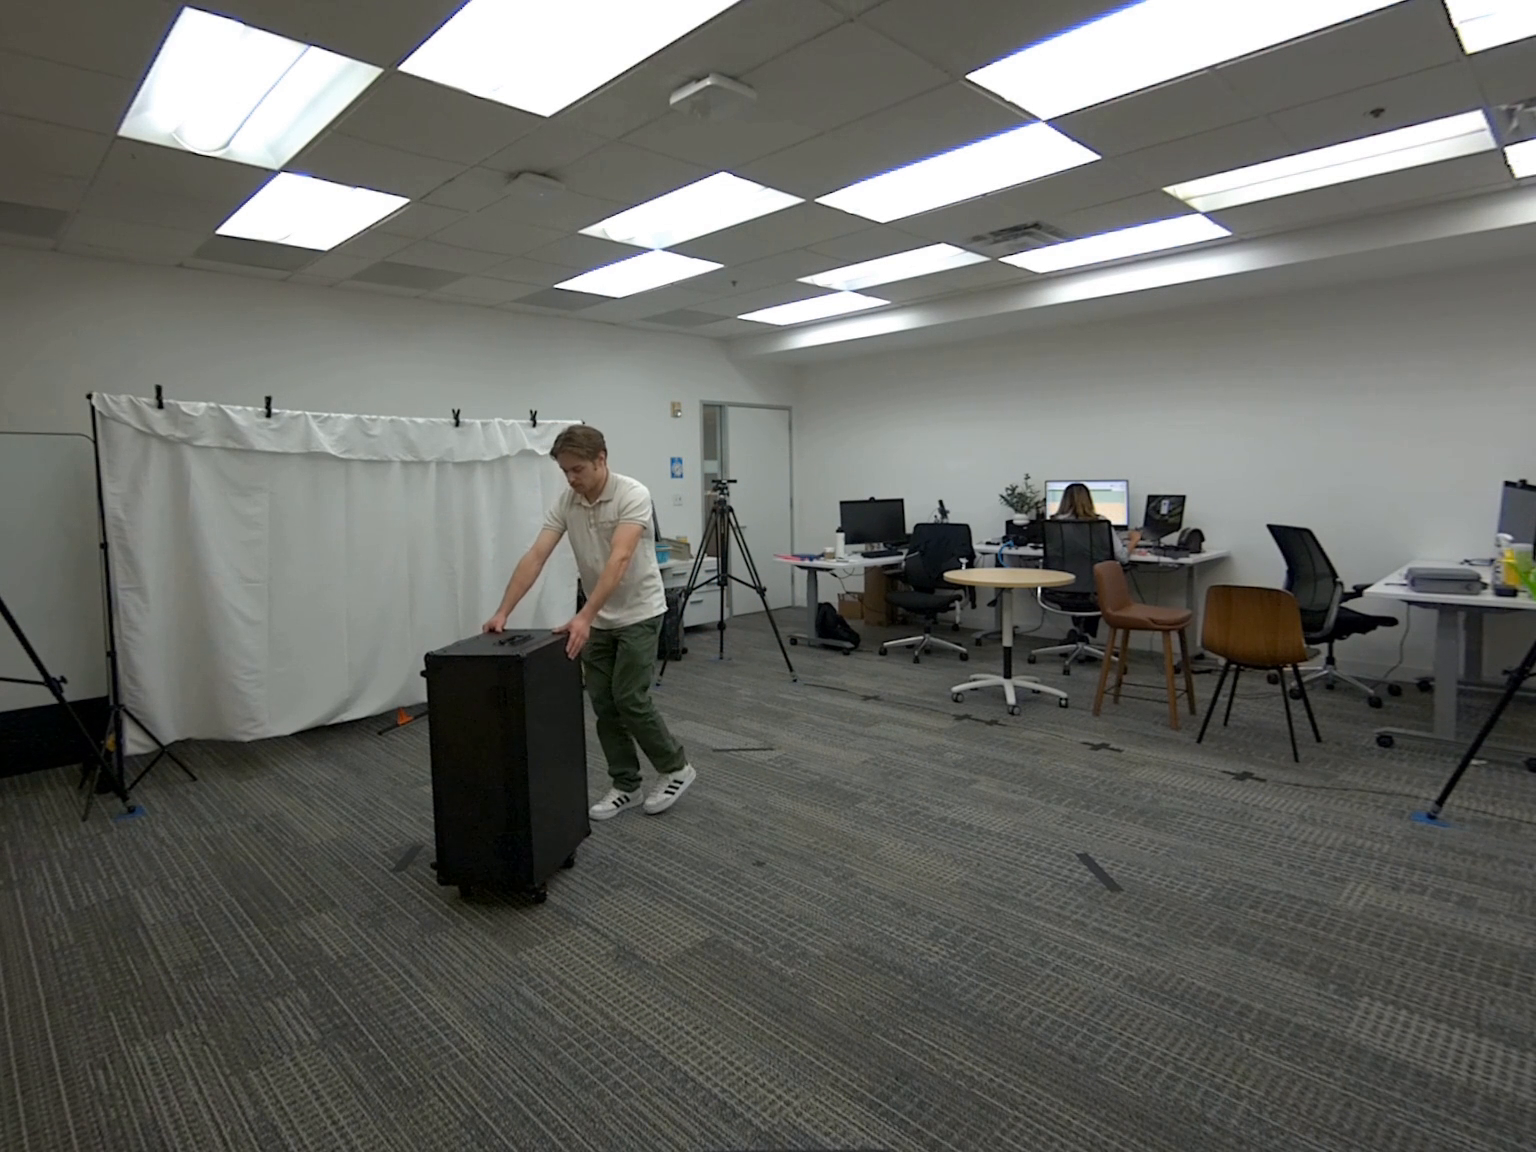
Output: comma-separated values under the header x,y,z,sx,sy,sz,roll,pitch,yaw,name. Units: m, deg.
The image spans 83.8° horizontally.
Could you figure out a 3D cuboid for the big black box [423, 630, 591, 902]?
x,y,z,sx,sy,sz,roll,pitch,yaw,name
-0.902,0.654,3.016,0.390,0.866,0.519,-1,4,11,big black box
